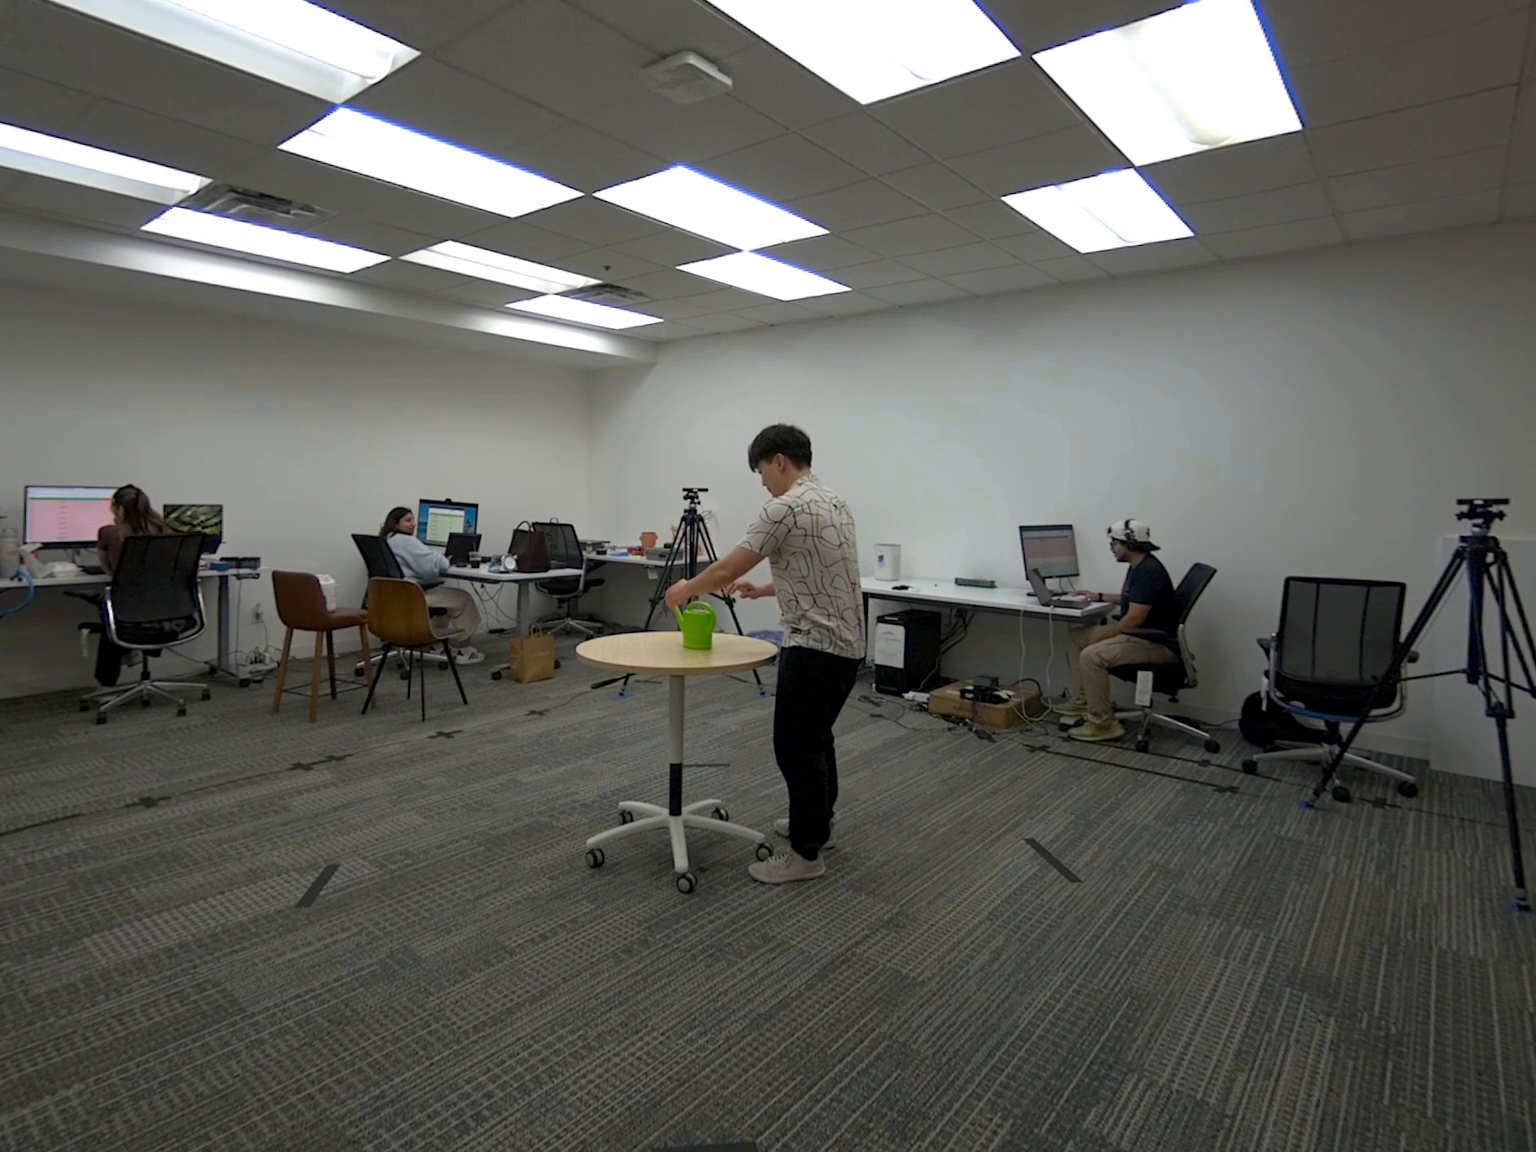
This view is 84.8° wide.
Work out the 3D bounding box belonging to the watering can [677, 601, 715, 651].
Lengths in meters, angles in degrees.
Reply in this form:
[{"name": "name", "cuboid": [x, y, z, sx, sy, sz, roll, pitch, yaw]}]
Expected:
[{"name": "watering can", "cuboid": [-0.306, 0.180, 3.294, 0.095, 0.176, 0.287, 1, 5, -32]}]
